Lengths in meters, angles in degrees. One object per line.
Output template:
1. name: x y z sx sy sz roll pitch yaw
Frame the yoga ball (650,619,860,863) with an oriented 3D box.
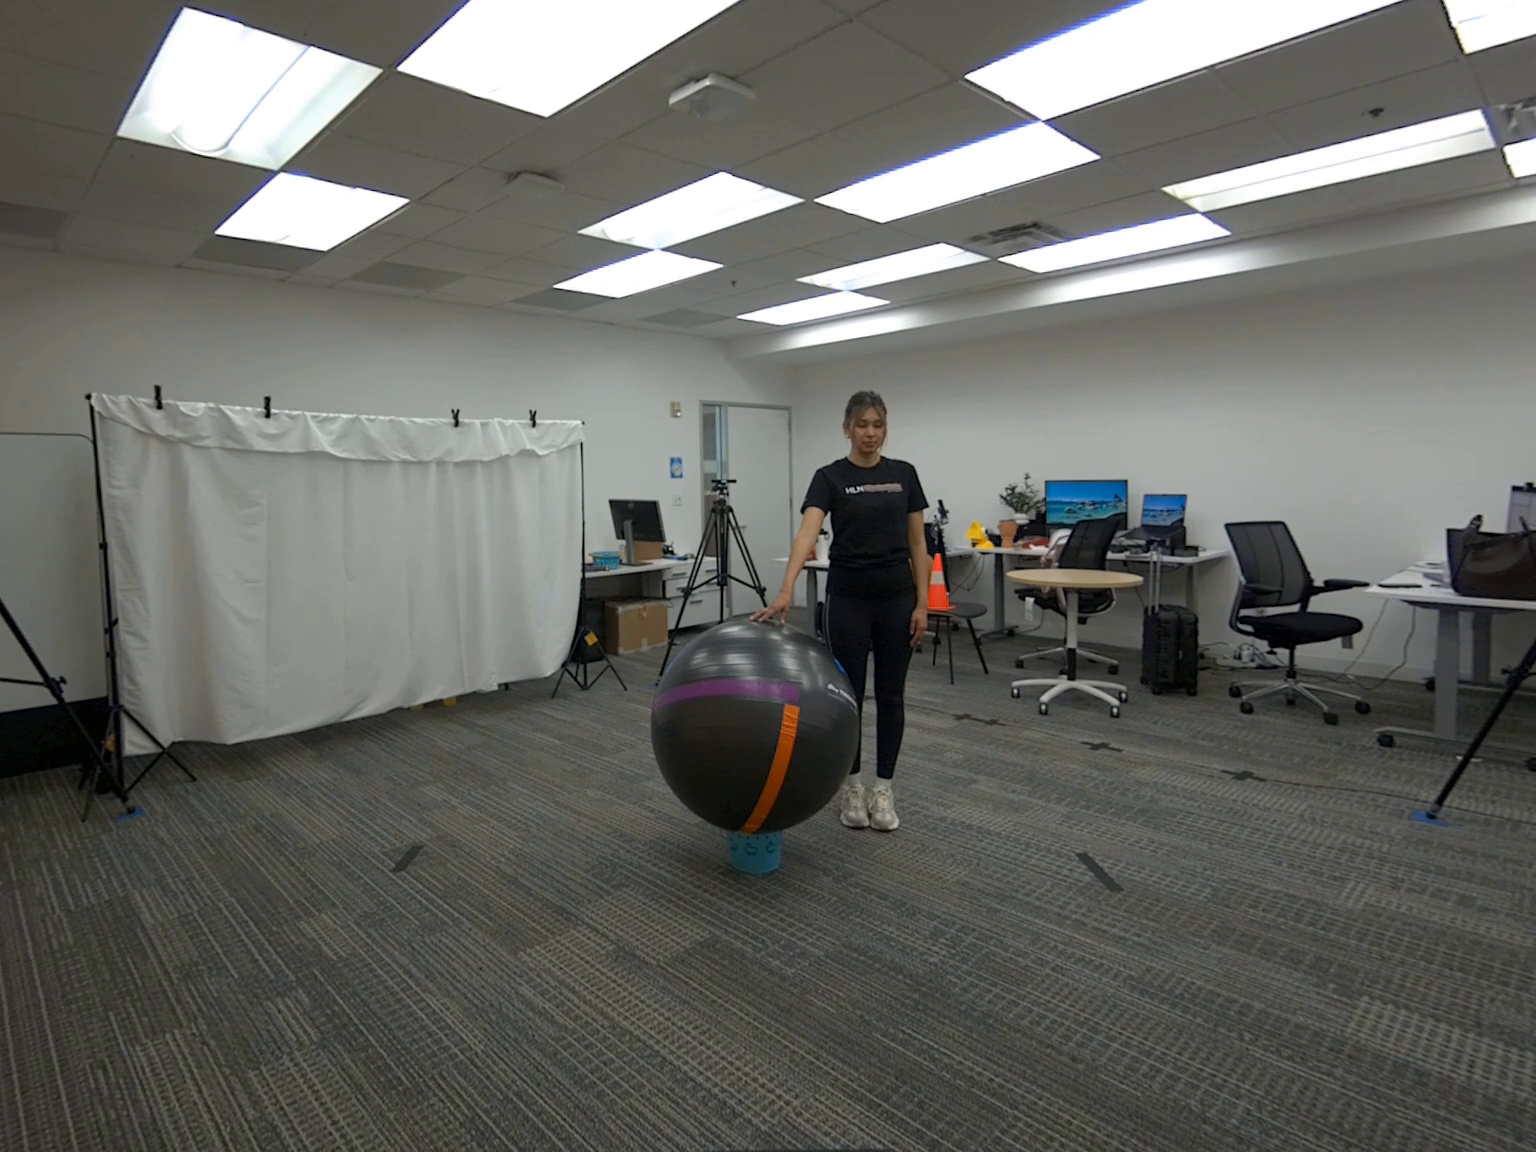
1. yoga ball: -0.047 0.543 3.107 0.757 0.755 0.762 -1 5 -2
